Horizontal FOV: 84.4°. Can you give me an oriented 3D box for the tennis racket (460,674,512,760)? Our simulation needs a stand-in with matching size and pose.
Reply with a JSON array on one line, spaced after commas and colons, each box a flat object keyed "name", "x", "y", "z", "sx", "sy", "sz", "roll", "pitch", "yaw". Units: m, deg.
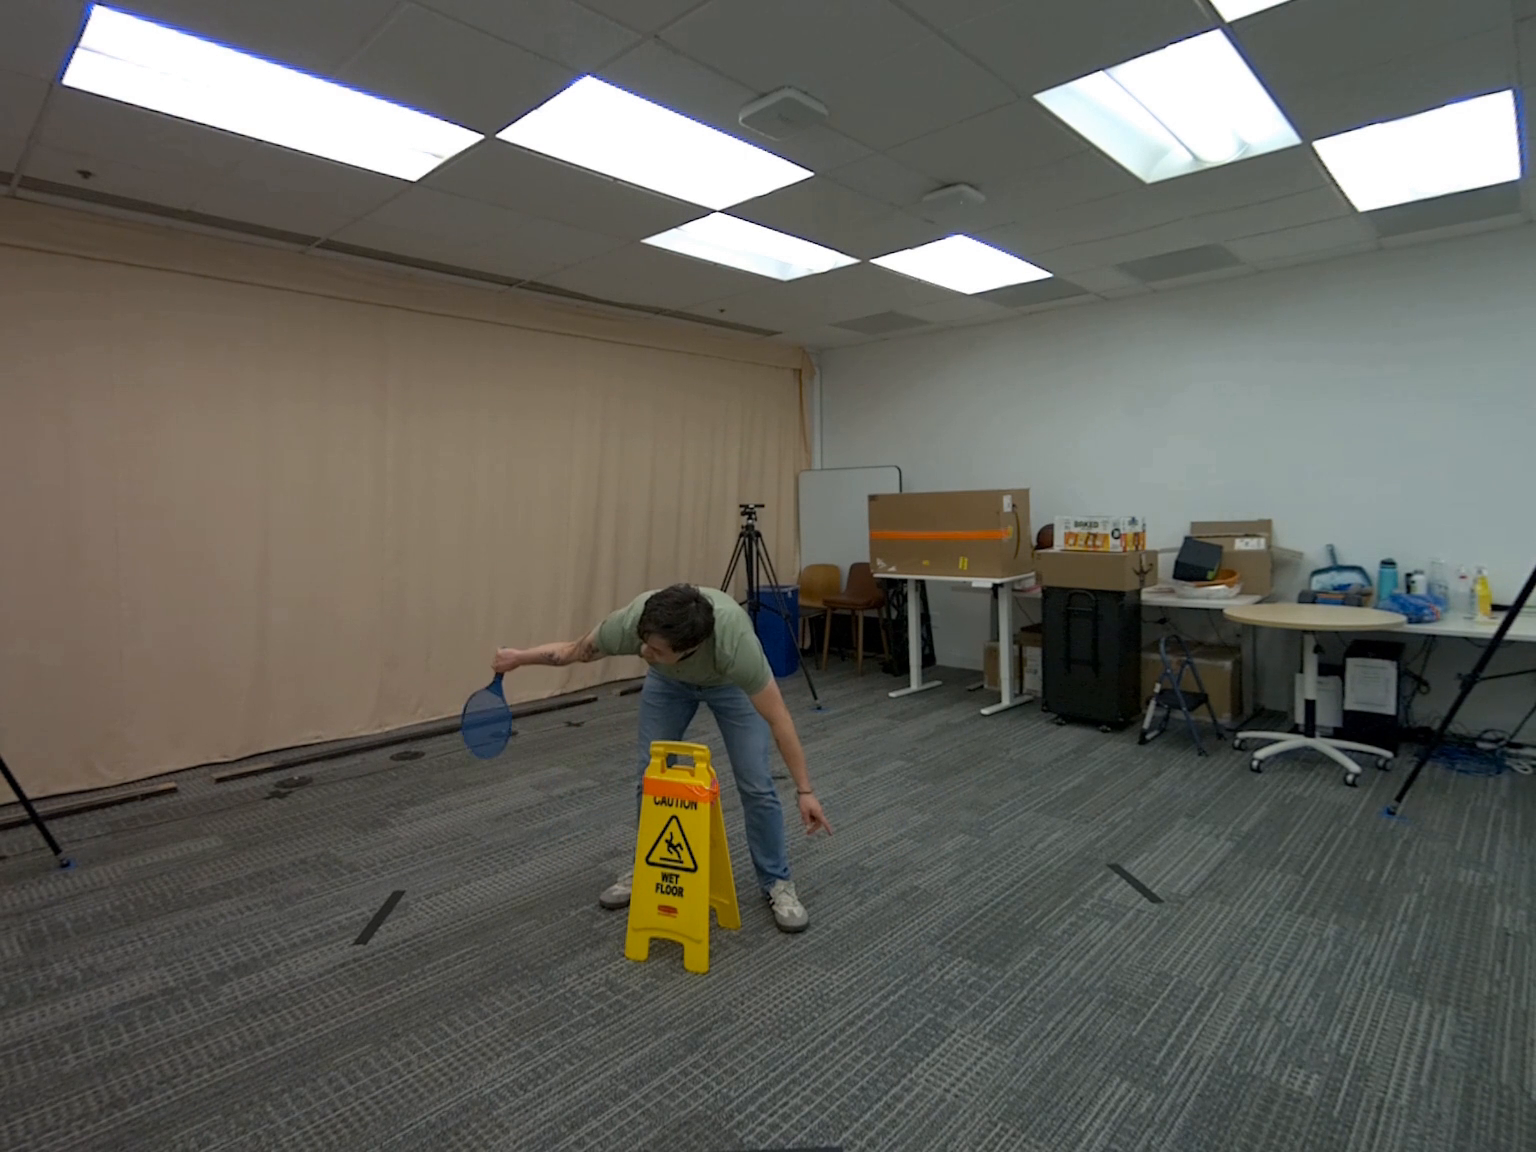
[{"name": "tennis racket", "x": -0.983, "y": 0.483, "z": 3.031, "sx": 0.218, "sy": 0.432, "sz": 0.031, "roll": 22, "pitch": 9, "yaw": 16}]
